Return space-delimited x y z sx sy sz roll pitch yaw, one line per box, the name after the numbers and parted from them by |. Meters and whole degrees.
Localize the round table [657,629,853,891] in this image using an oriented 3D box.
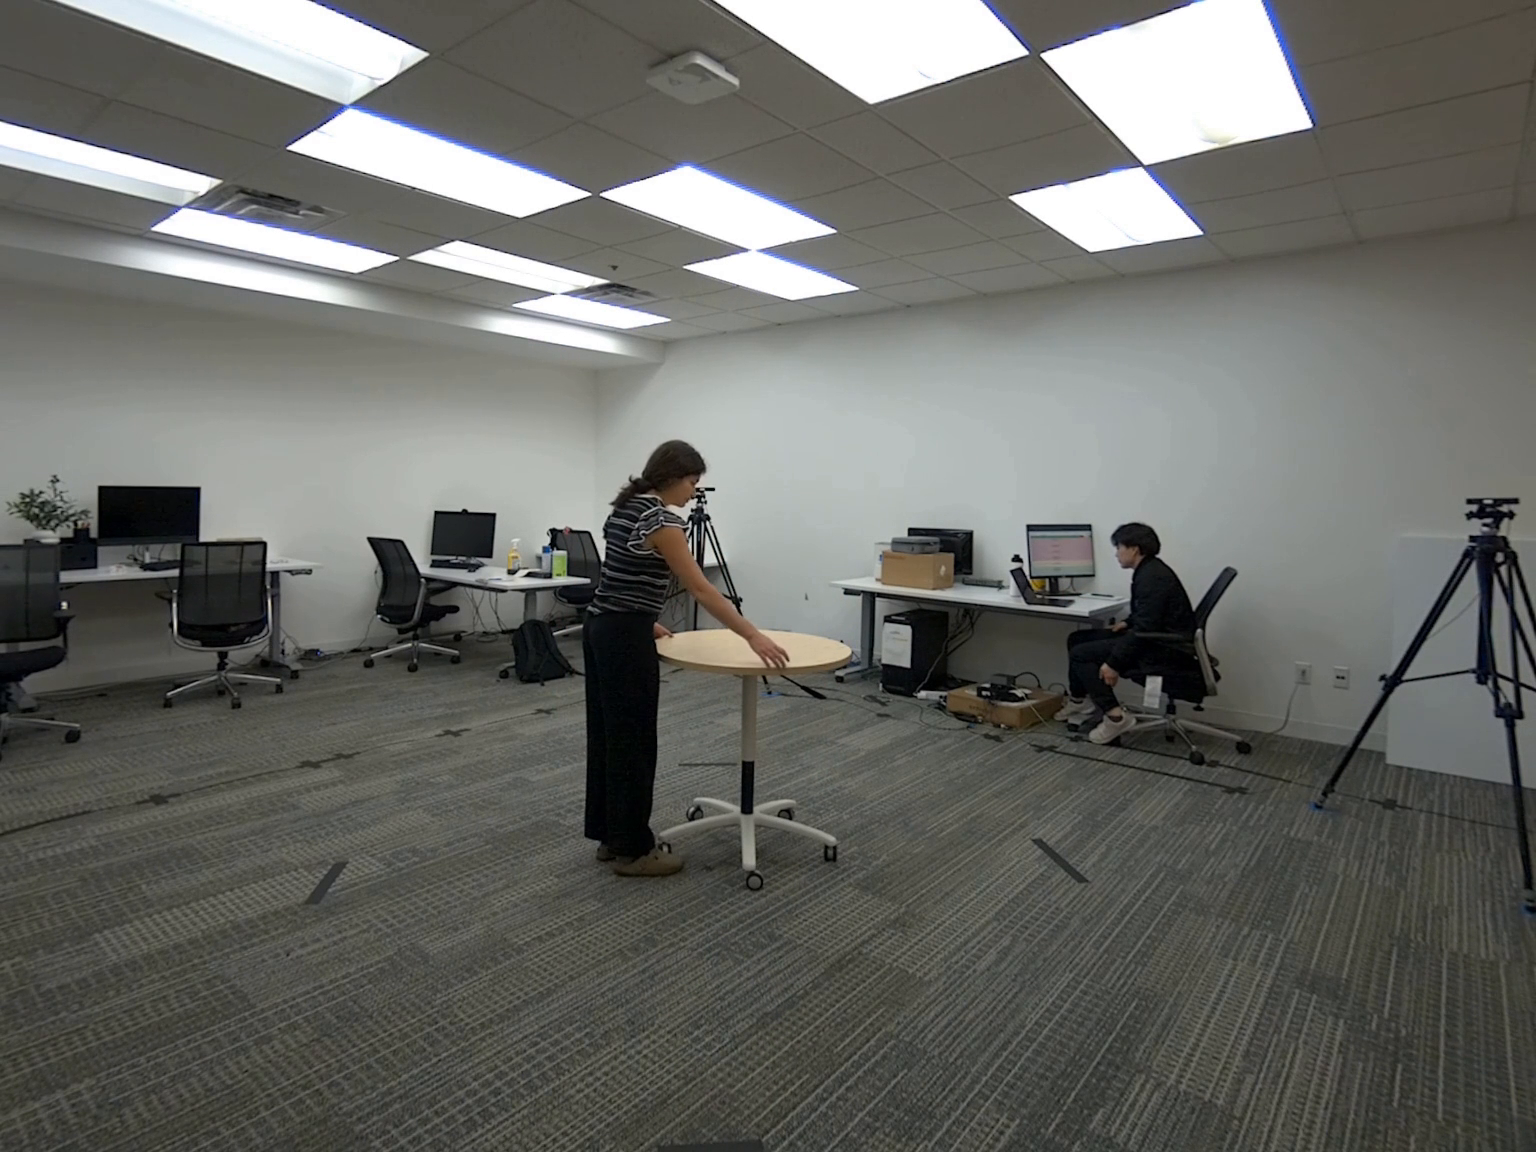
-0.093 0.659 3.274 0.784 0.784 0.789 2 4 -2 | round table
